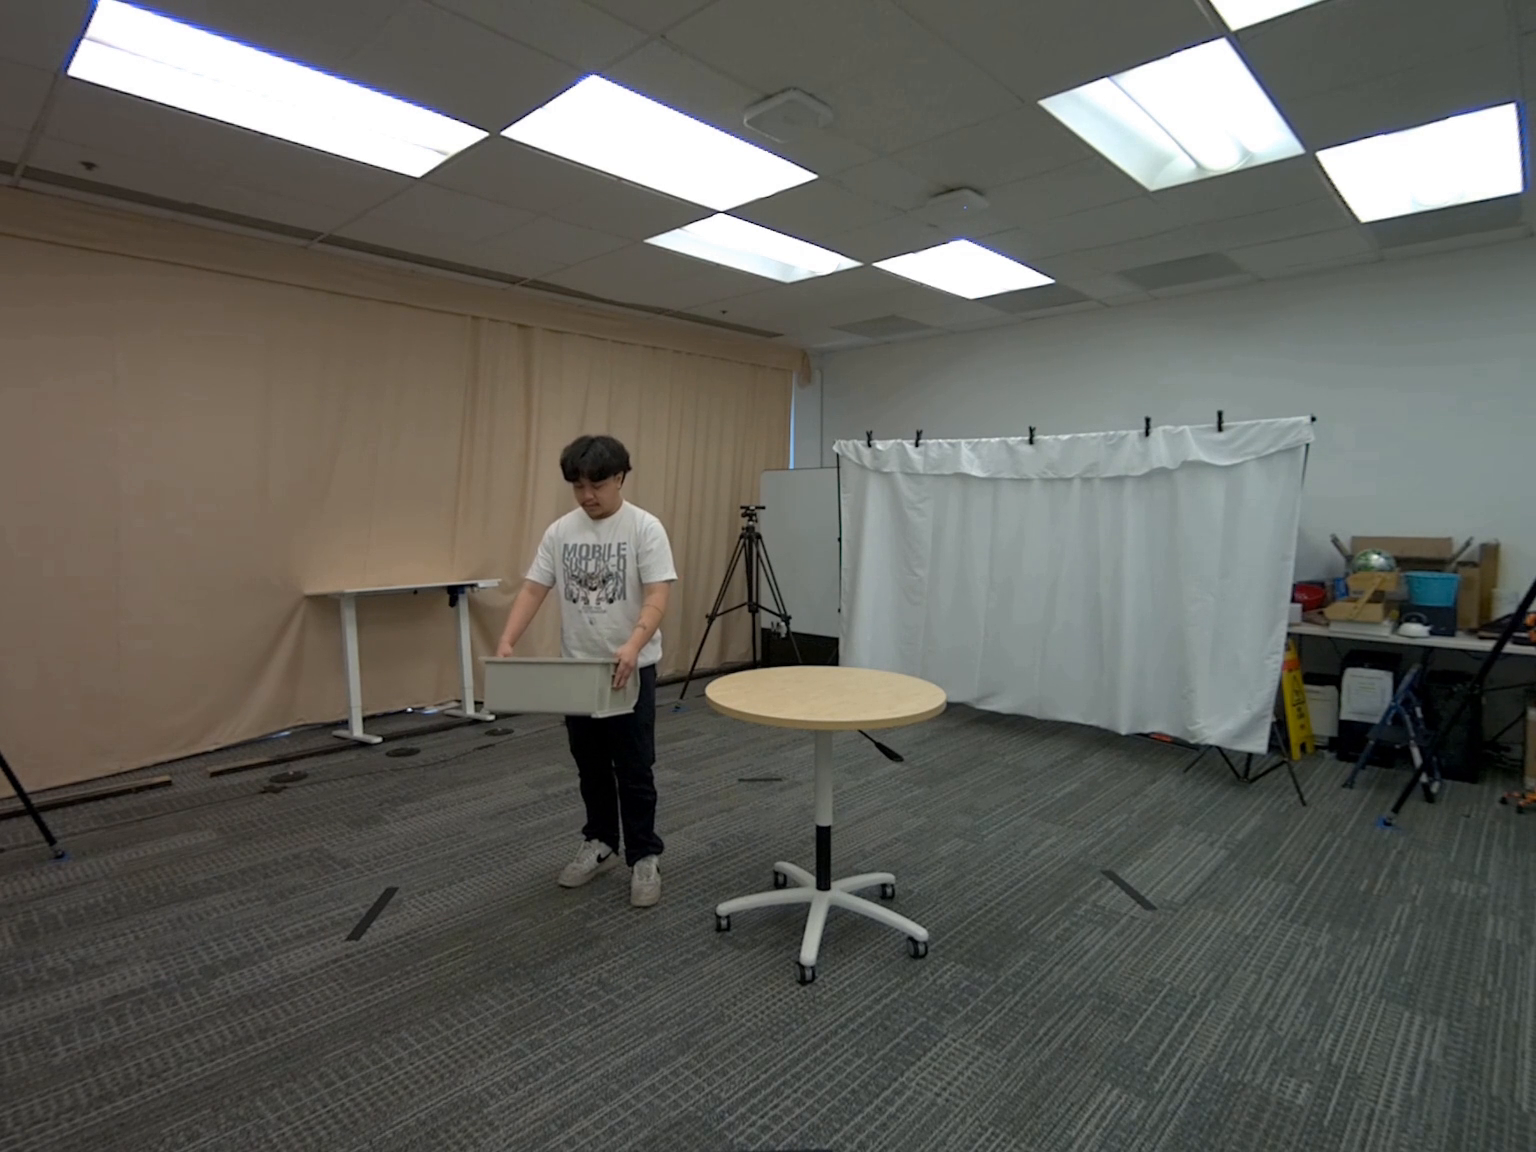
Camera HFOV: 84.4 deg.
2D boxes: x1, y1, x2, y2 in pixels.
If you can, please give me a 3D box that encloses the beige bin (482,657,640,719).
[{"bbox_3d":[-0.686,0.361,2.798,0.428,0.189,0.371,1,-4,12],"label":"beige bin"}]
